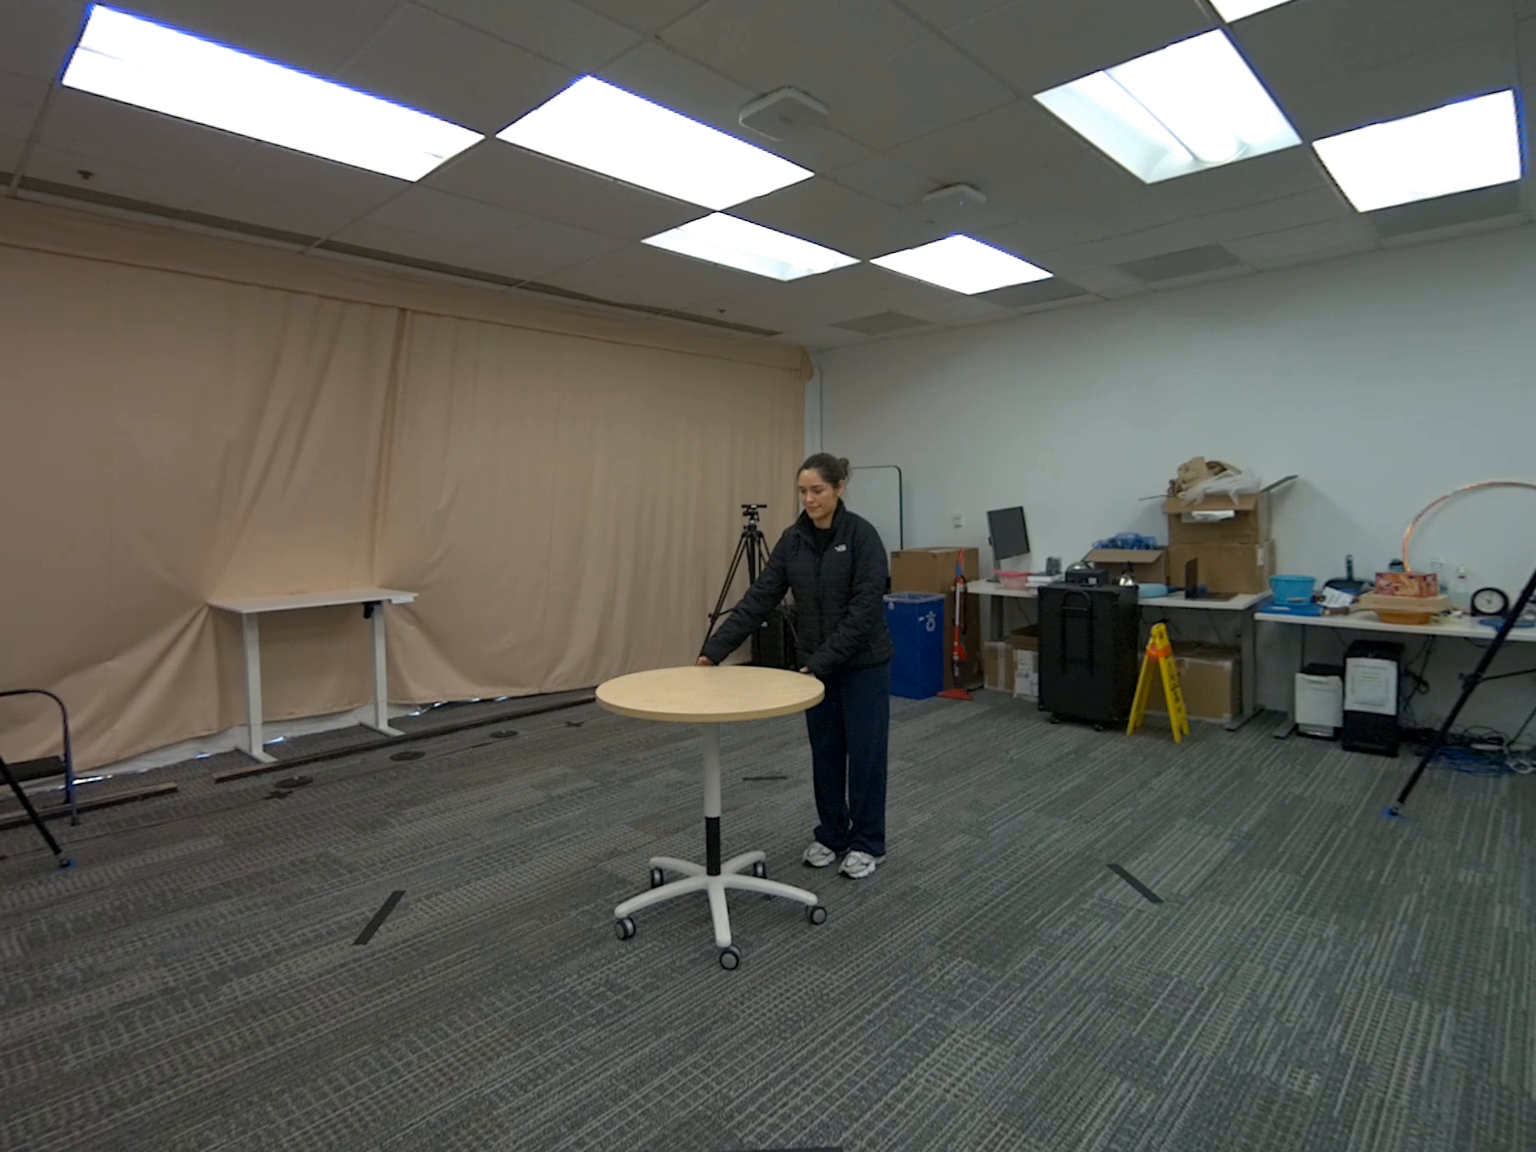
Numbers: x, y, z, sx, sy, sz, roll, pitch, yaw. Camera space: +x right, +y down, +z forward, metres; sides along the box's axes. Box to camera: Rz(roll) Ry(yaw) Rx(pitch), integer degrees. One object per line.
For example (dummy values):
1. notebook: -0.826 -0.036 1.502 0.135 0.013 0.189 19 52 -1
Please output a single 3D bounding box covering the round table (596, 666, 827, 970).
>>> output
1. round table: -0.156 0.760 2.865 0.784 0.785 0.788 -1 4 -2
